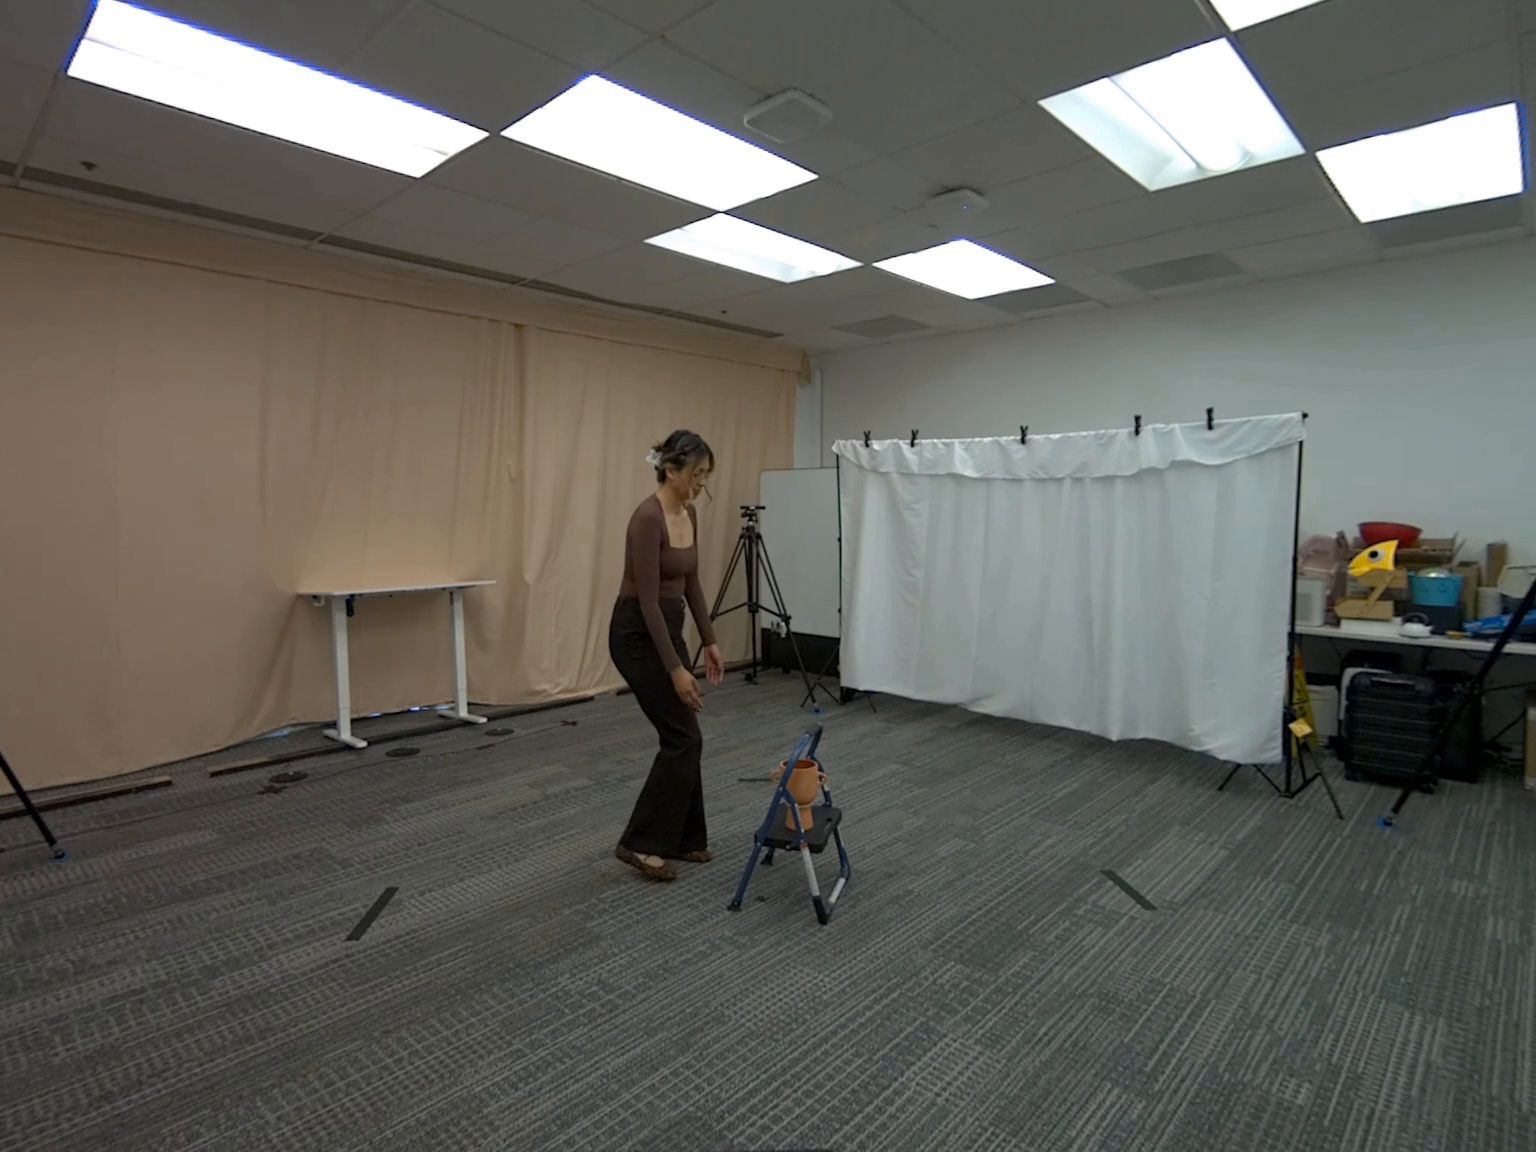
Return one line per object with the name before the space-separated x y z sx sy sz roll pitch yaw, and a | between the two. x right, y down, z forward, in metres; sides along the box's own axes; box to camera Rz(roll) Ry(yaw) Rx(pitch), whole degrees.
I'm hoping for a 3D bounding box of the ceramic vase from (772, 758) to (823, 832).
ceramic vase | 0.114 0.776 2.964 0.130 0.219 0.164 -3 4 -38
